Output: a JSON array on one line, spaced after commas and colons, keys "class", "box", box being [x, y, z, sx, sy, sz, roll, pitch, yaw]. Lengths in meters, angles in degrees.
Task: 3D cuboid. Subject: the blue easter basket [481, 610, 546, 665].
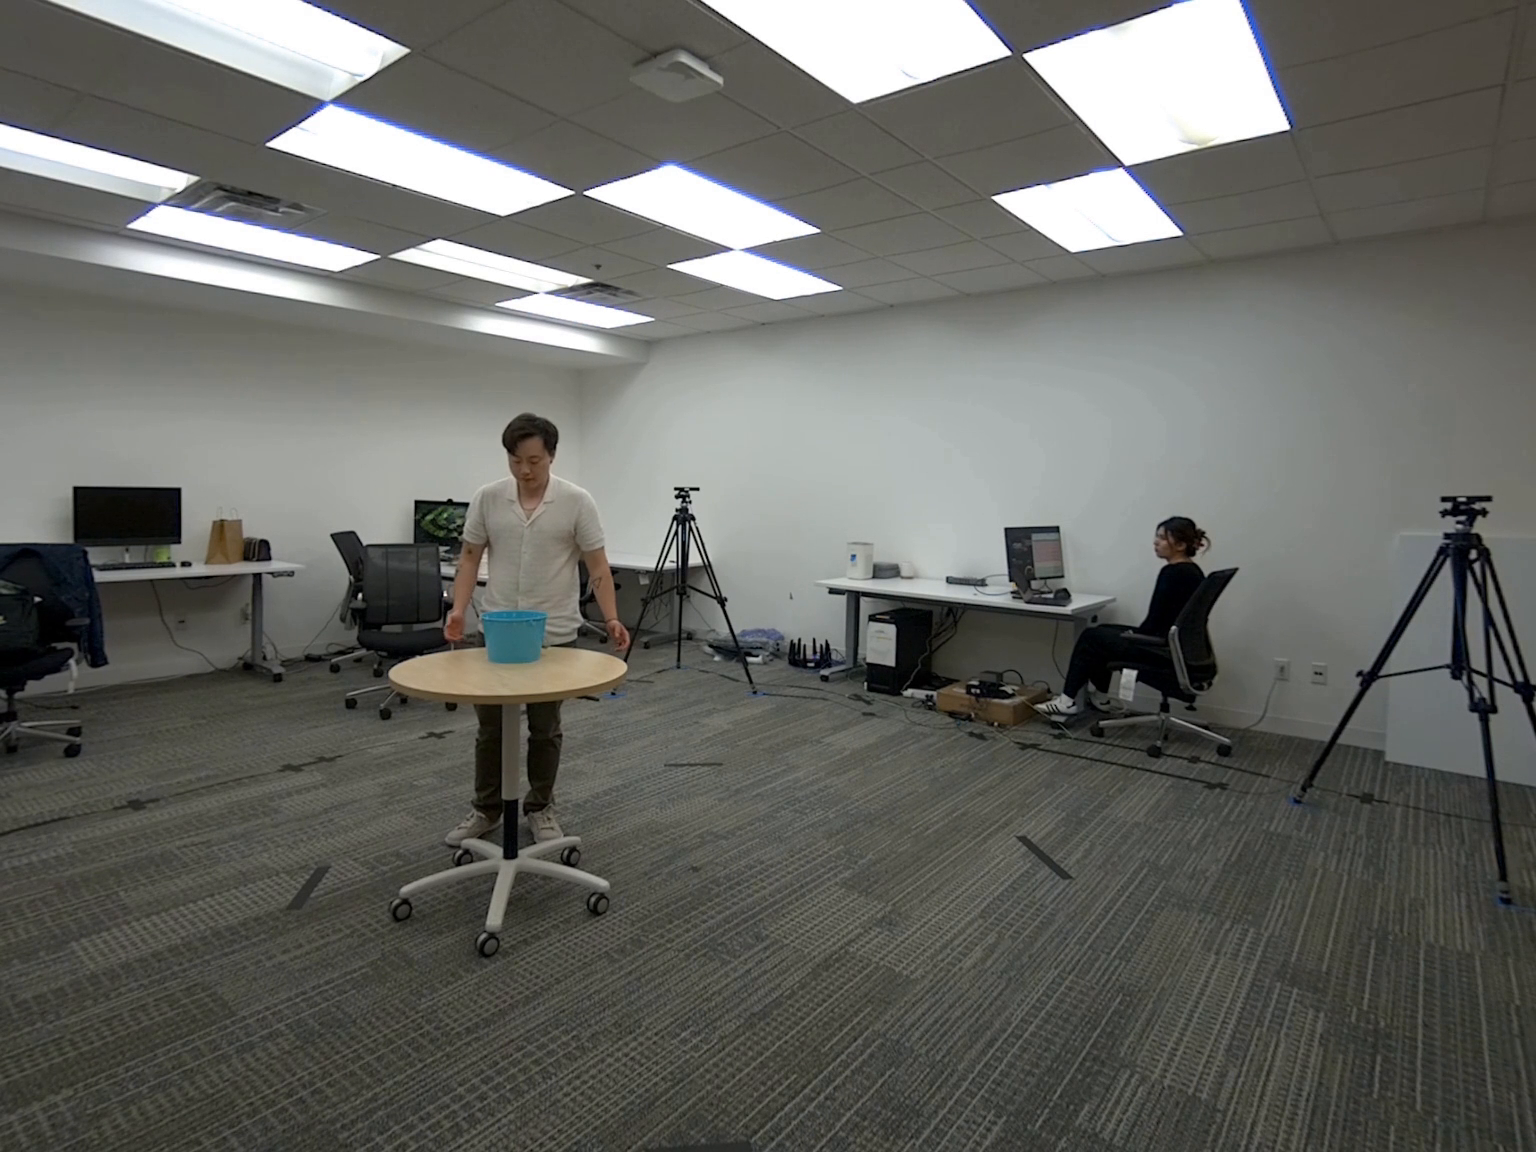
[{"class": "blue easter basket", "box": [-0.893, 0.211, 2.974, 0.243, 0.155, 0.245, 1, 5, -2]}]
